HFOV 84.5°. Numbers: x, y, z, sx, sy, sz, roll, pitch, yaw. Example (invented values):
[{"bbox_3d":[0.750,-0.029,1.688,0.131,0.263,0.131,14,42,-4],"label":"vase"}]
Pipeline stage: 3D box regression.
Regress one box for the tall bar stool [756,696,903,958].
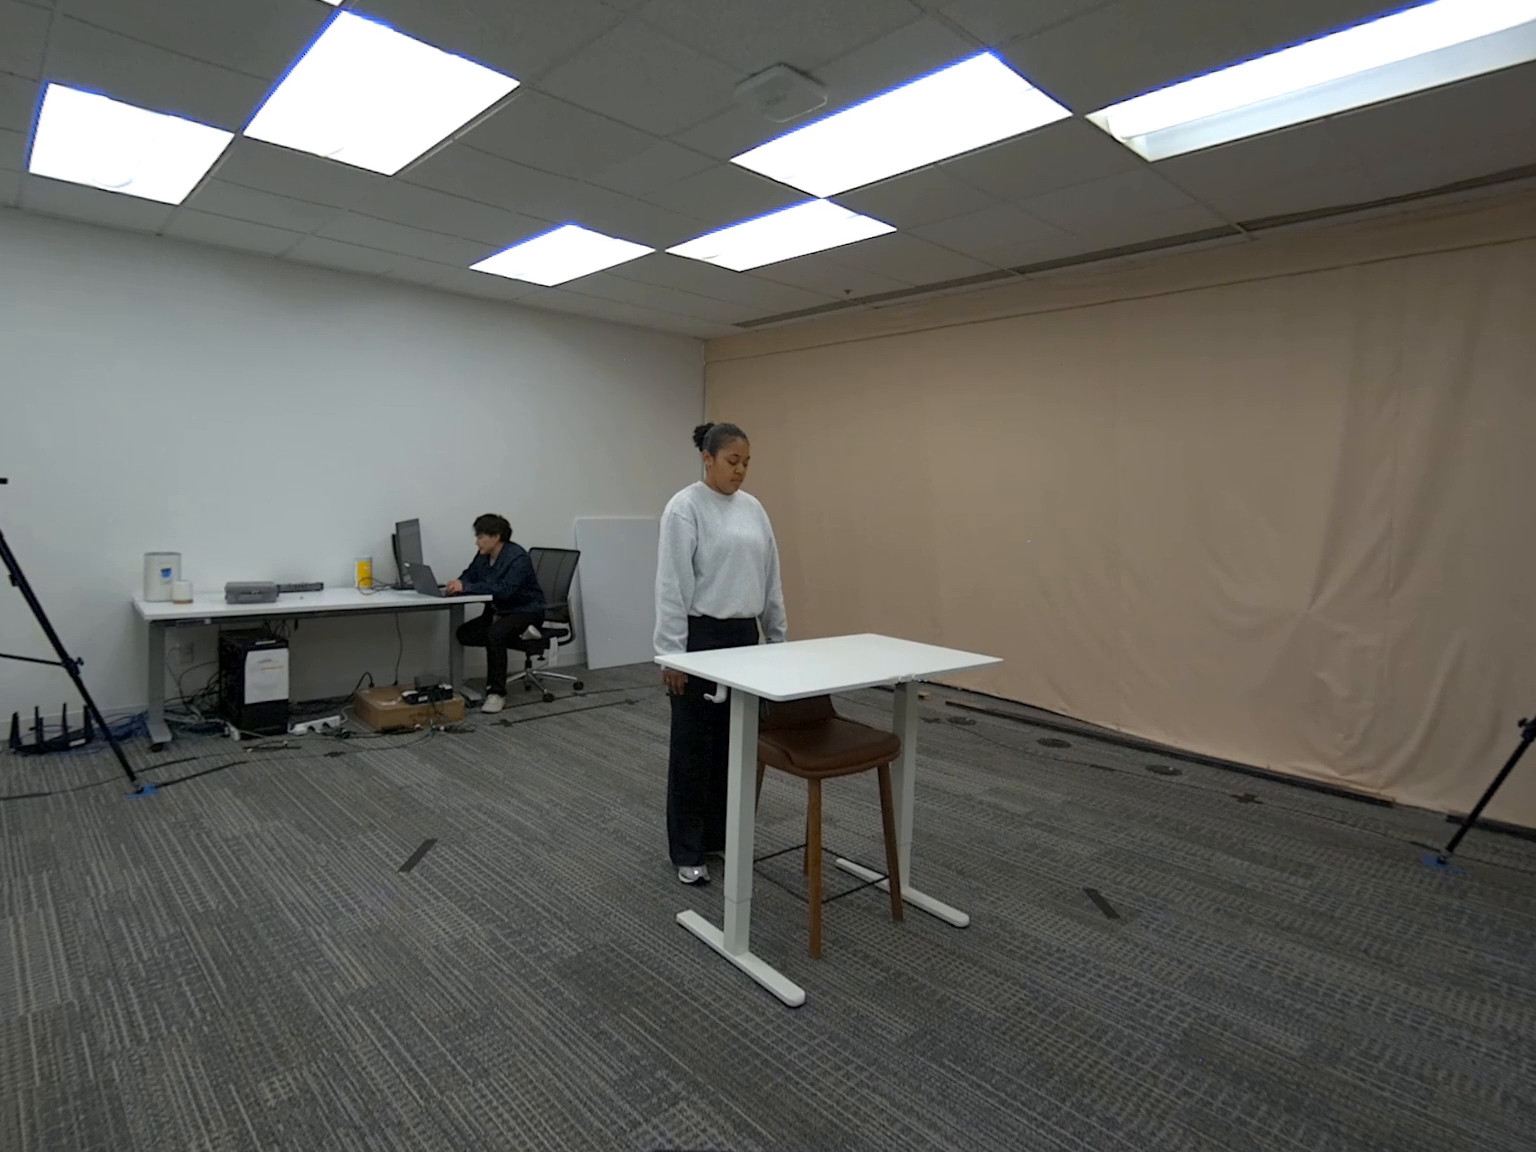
[{"bbox_3d":[0.151,0.704,2.835,0.446,0.889,0.479,-1,2,-39],"label":"tall bar stool"}]
